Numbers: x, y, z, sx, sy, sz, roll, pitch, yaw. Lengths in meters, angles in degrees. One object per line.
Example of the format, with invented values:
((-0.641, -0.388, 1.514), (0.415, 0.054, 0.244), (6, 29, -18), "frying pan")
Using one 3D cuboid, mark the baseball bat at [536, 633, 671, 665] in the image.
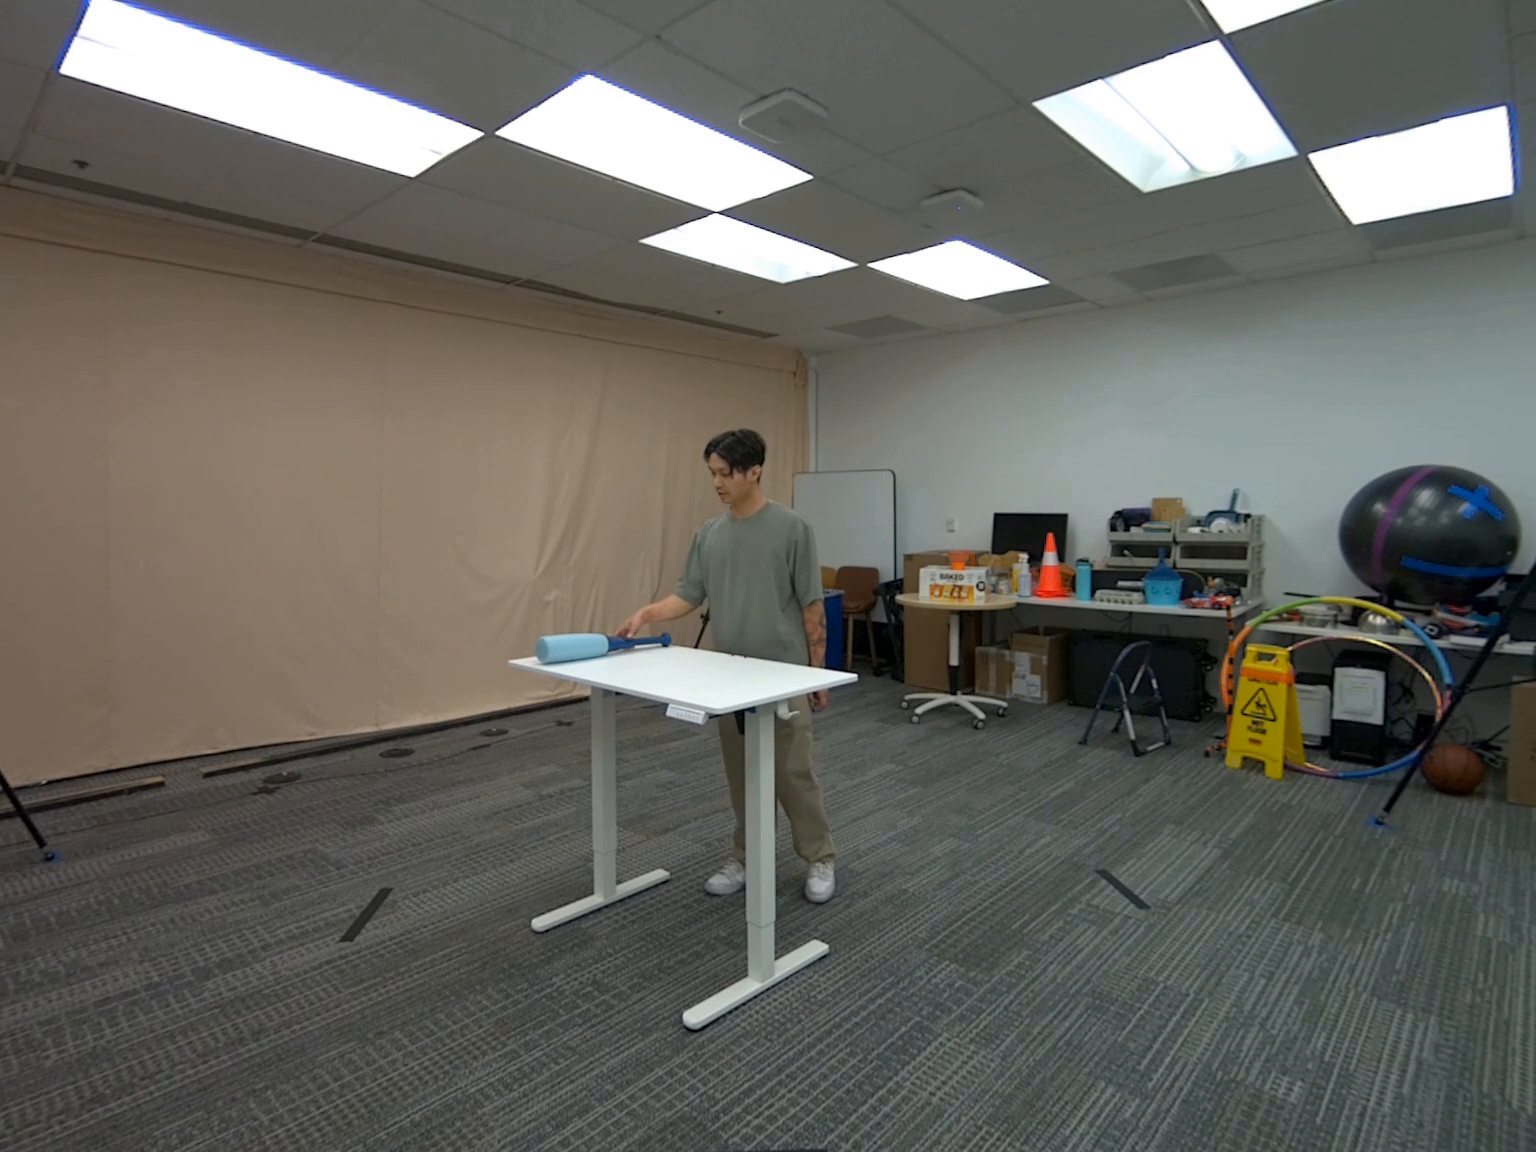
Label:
((-0.556, 0.238, 2.913), (0.092, 0.089, 0.525), (4, 3, 43), "baseball bat")
